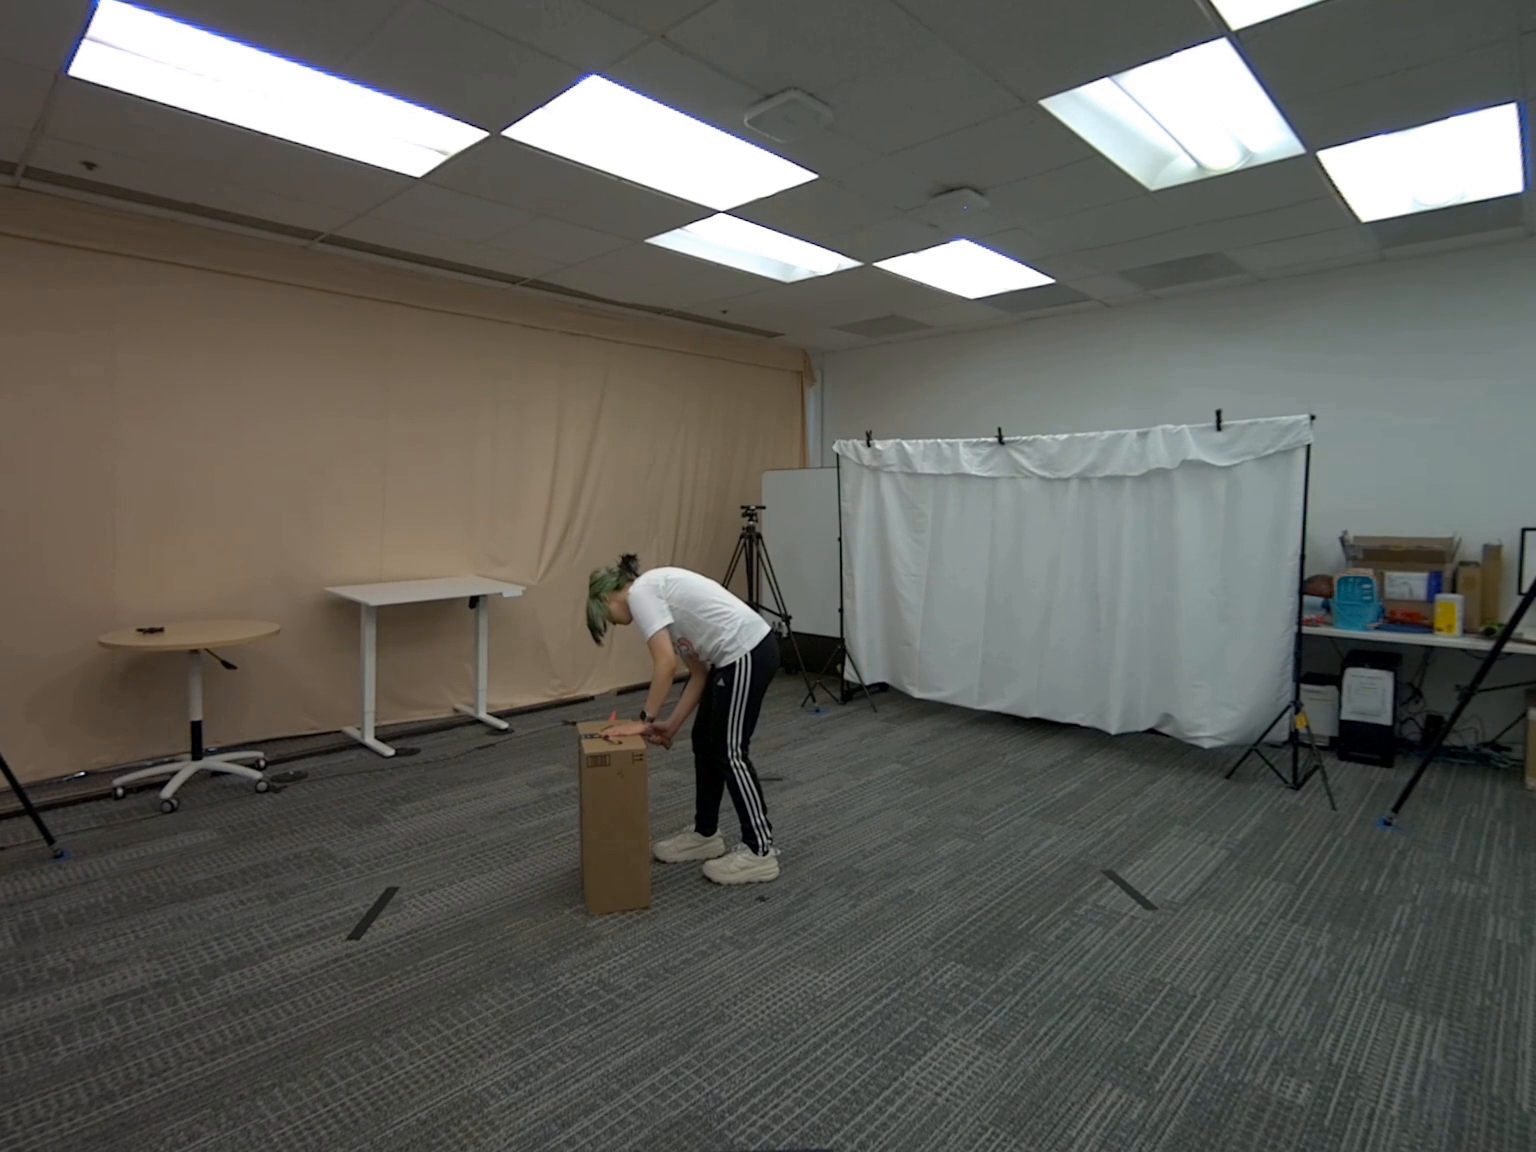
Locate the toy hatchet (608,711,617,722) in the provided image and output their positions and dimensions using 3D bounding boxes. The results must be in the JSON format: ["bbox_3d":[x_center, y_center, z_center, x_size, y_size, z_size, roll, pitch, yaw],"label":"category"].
[{"bbox_3d":[-0.502,0.659,3.301,0.271,0.131,0.029,23,-25,3],"label":"toy hatchet"}]
